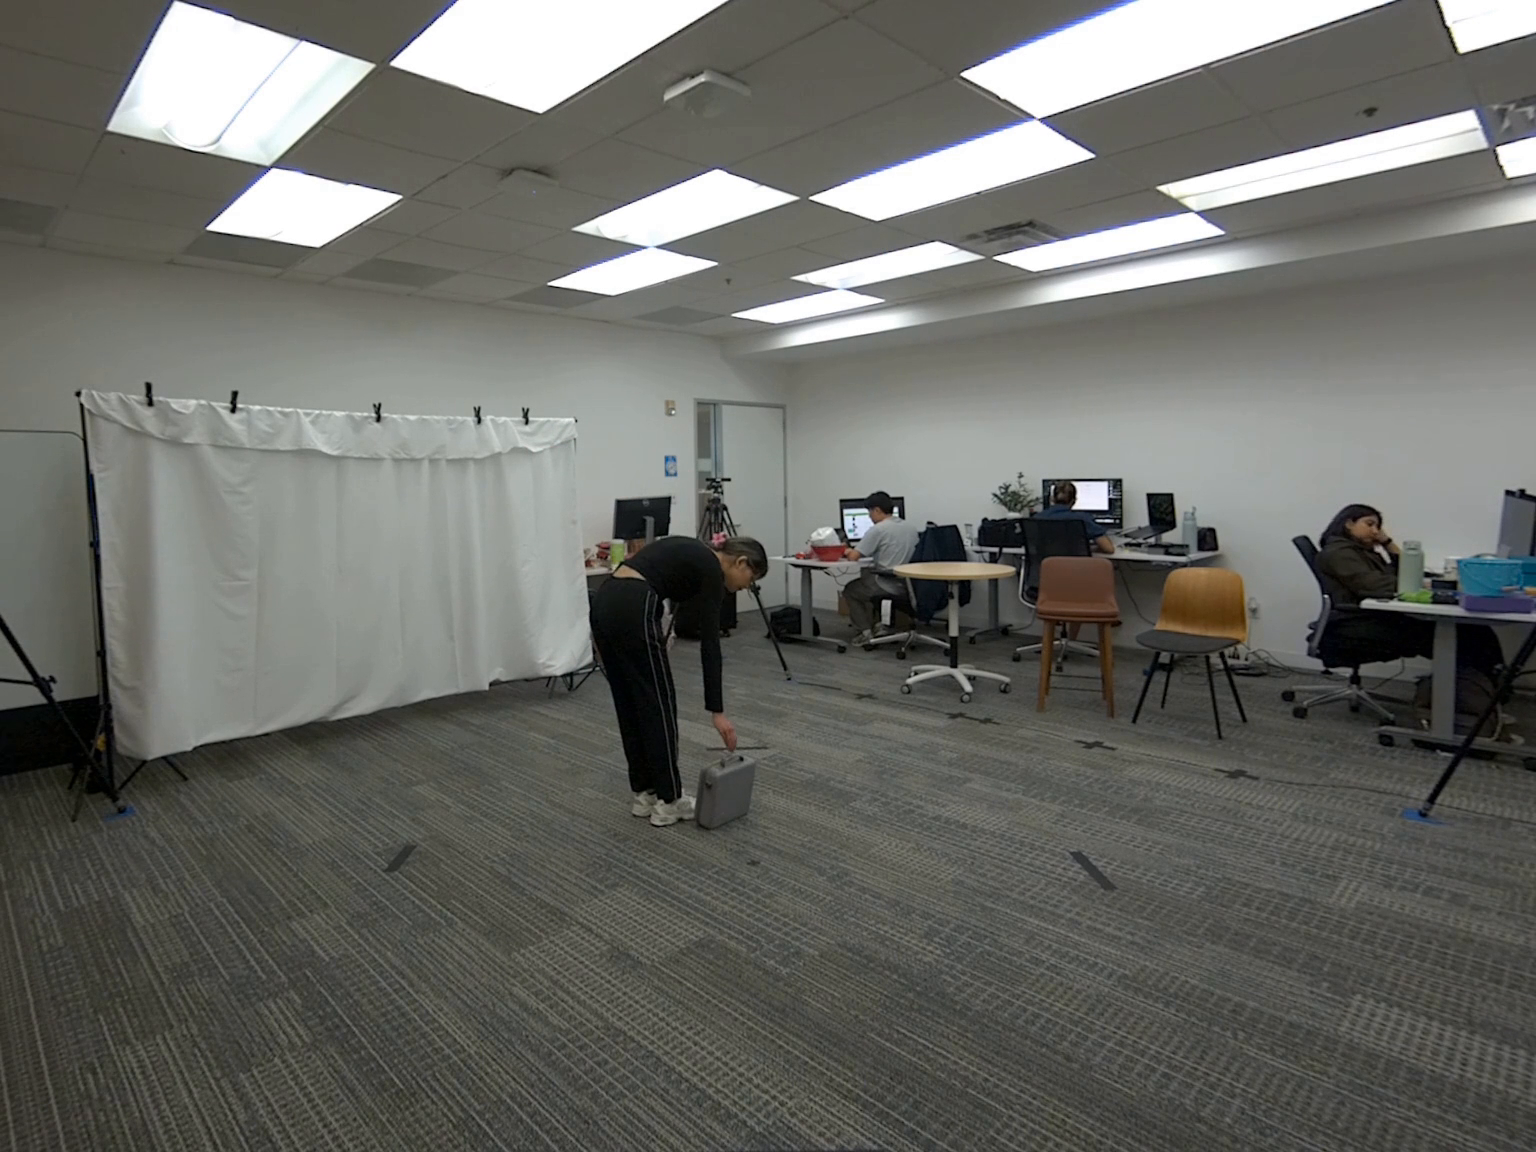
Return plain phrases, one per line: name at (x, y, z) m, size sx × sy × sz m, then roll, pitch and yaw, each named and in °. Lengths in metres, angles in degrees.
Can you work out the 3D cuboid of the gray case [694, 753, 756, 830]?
gray case at (-0.170, 0.866, 3.480) m, size 0.108 × 0.258 × 0.250 m, roll 18°, pitch 16°, yaw 40°
